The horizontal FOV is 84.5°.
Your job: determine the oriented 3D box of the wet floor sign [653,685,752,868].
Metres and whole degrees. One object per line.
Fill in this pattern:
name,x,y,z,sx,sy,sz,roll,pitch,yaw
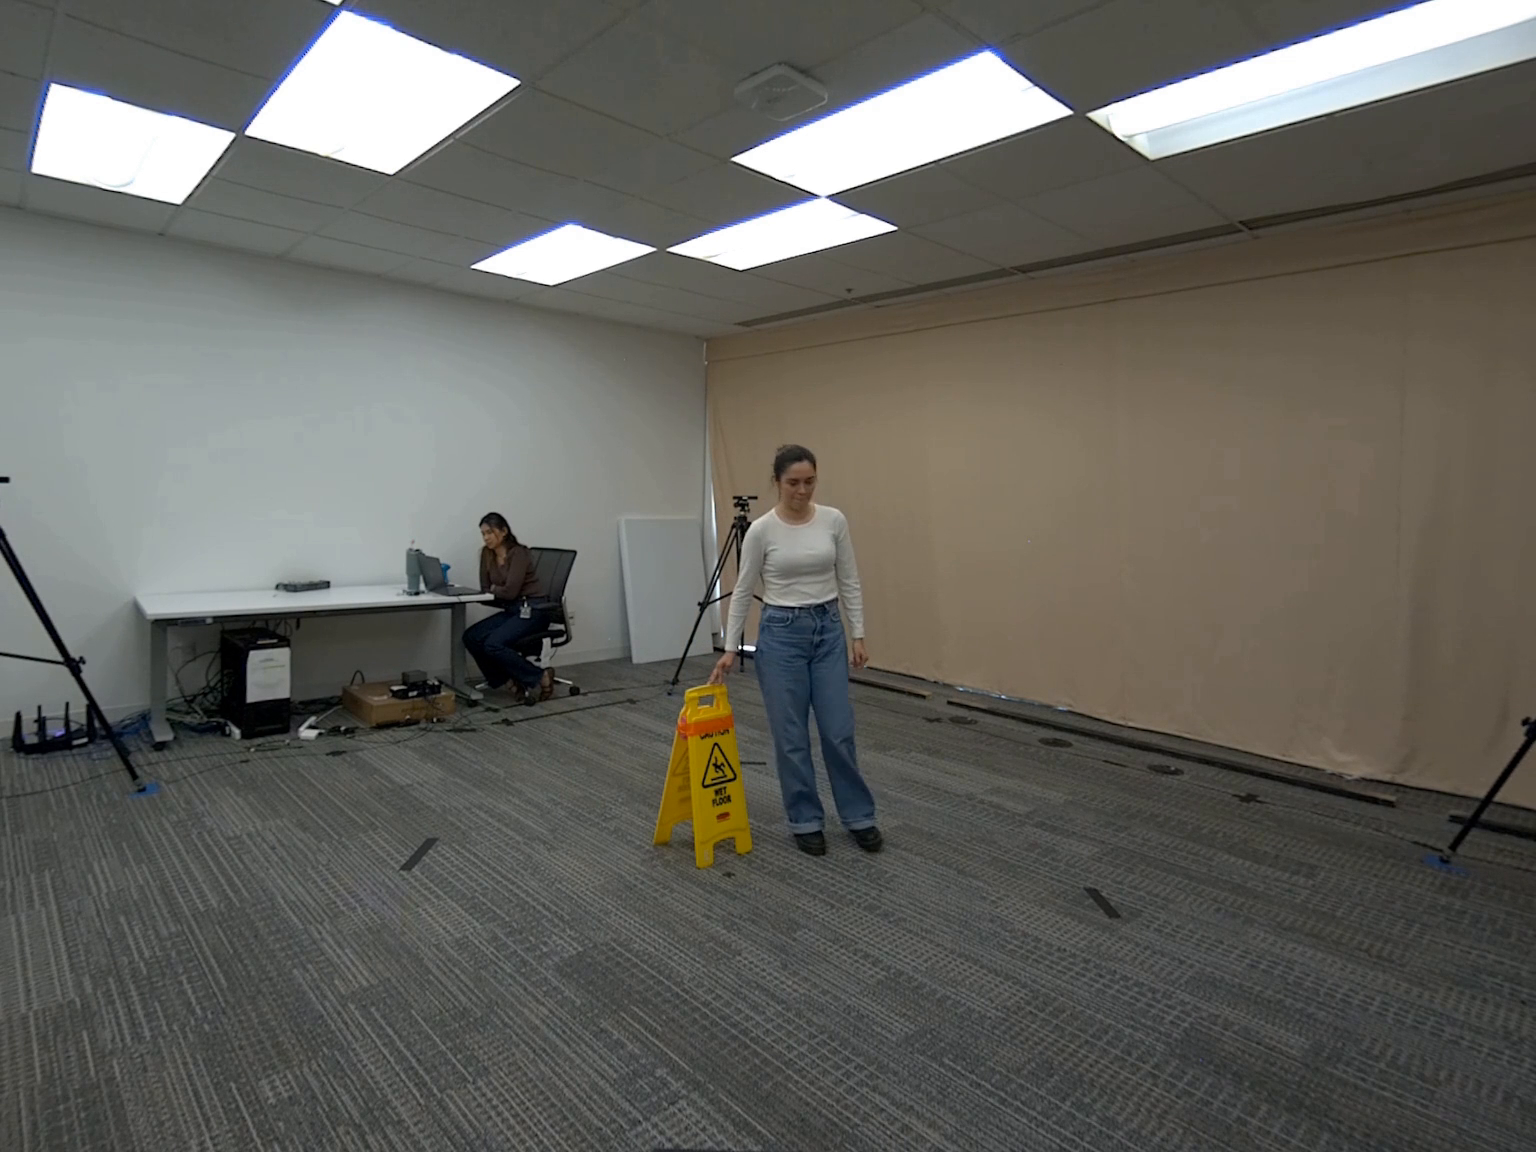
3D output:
wet floor sign,-0.262,0.756,3.323,0.276,0.645,0.297,-1,4,-44
